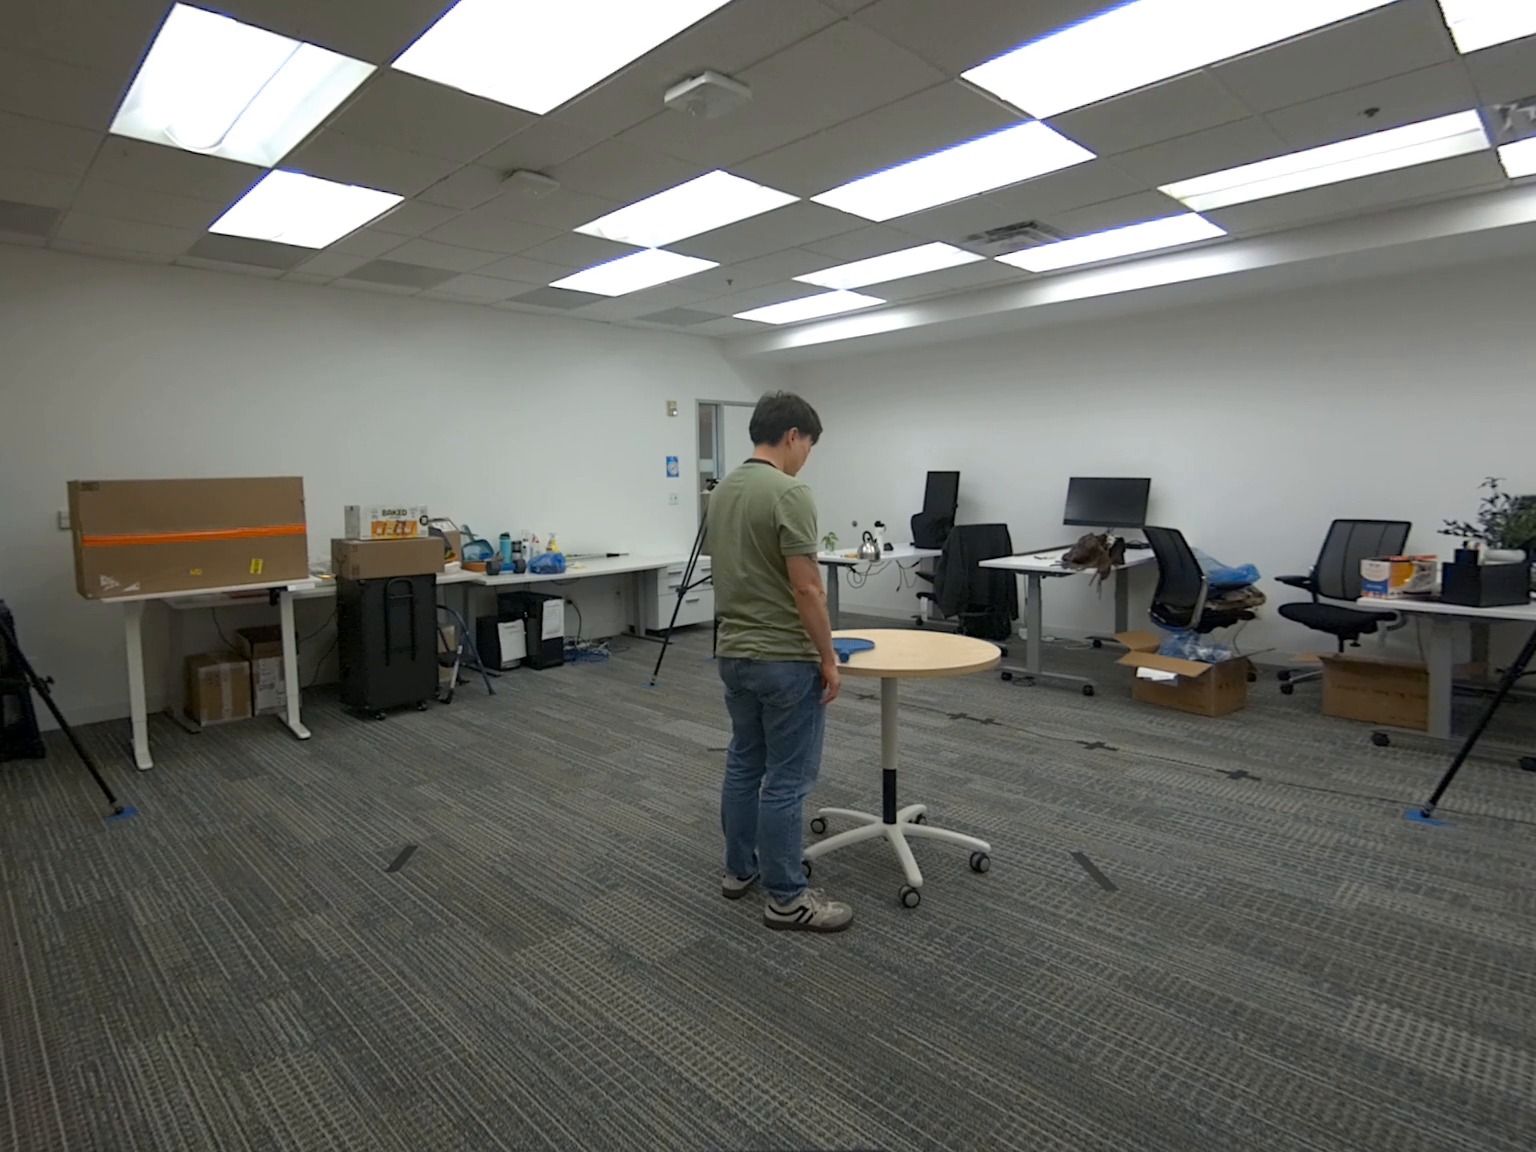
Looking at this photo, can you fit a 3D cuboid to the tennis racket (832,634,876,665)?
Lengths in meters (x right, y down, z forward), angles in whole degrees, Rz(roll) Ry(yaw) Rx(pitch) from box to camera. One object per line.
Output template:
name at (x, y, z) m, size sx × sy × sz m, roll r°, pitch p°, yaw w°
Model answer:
tennis racket at (0.267, 0.251, 3.013) m, size 0.216 × 0.031 × 0.430 m, roll 0°, pitch 4°, yaw 8°
